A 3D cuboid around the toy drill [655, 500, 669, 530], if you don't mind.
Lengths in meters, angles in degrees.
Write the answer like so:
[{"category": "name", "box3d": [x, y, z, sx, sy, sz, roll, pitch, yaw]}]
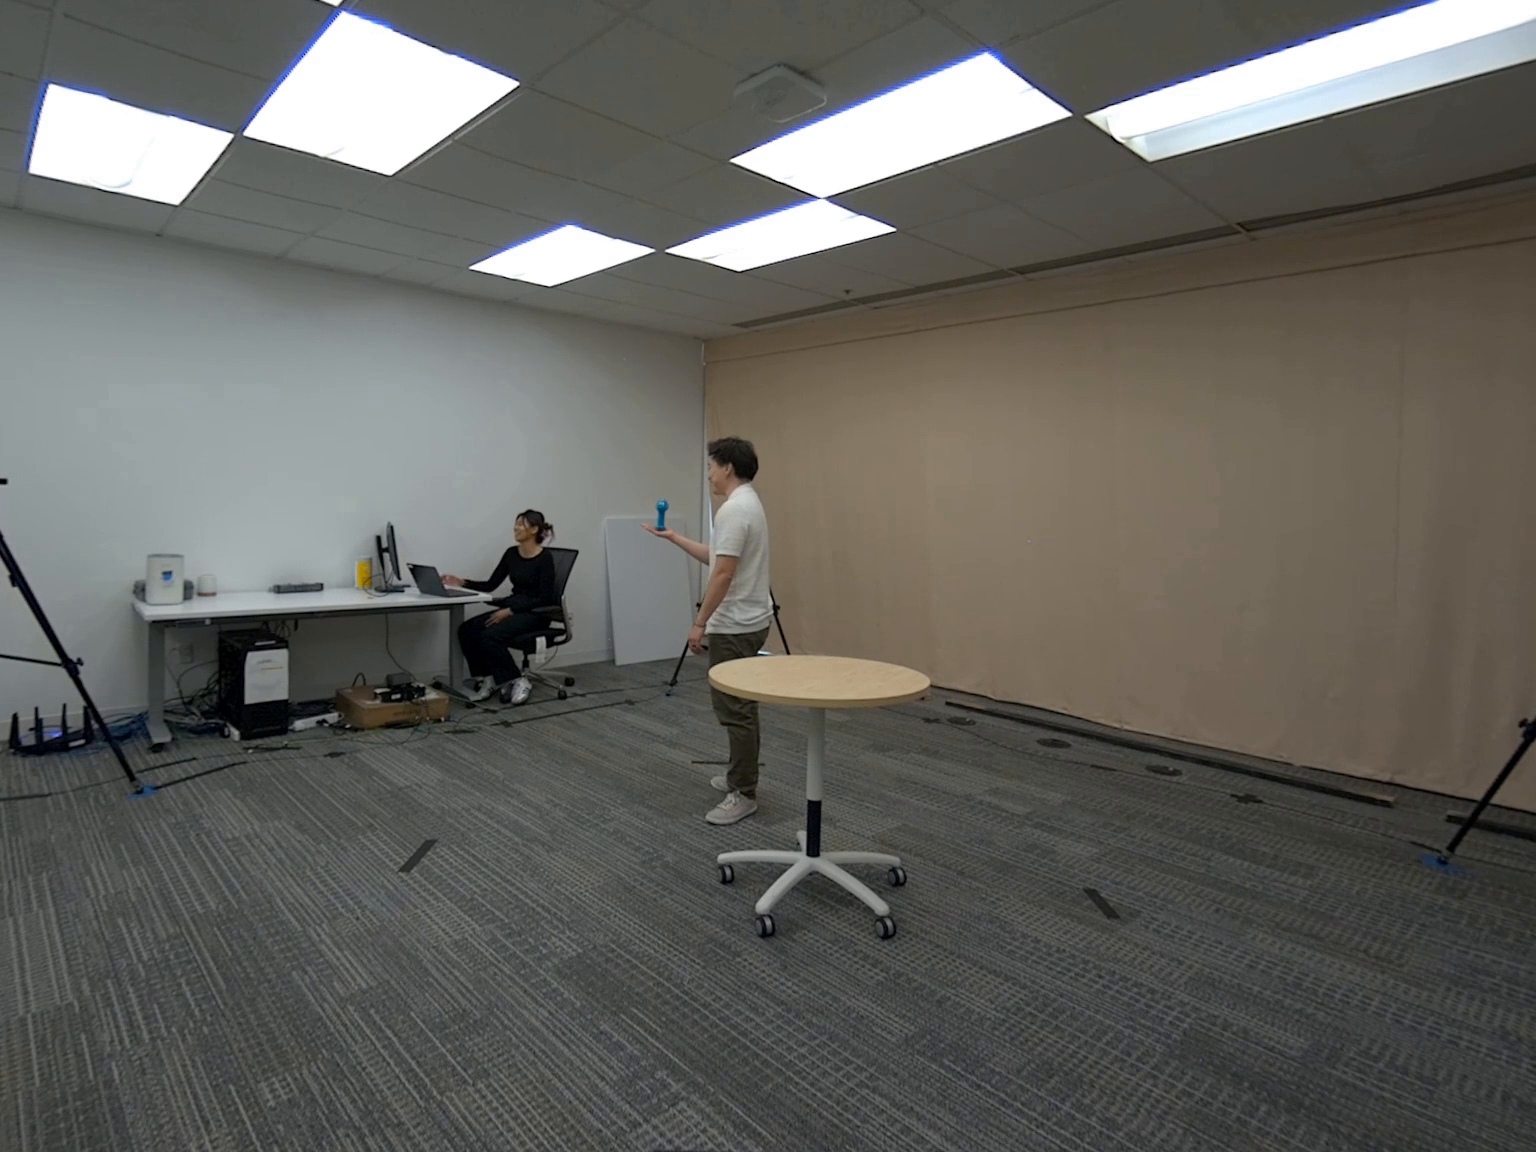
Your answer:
[{"category": "toy drill", "box3d": [-0.516, -0.301, 4.055, 0.061, 0.145, 0.172, 2, 12, -6]}]
